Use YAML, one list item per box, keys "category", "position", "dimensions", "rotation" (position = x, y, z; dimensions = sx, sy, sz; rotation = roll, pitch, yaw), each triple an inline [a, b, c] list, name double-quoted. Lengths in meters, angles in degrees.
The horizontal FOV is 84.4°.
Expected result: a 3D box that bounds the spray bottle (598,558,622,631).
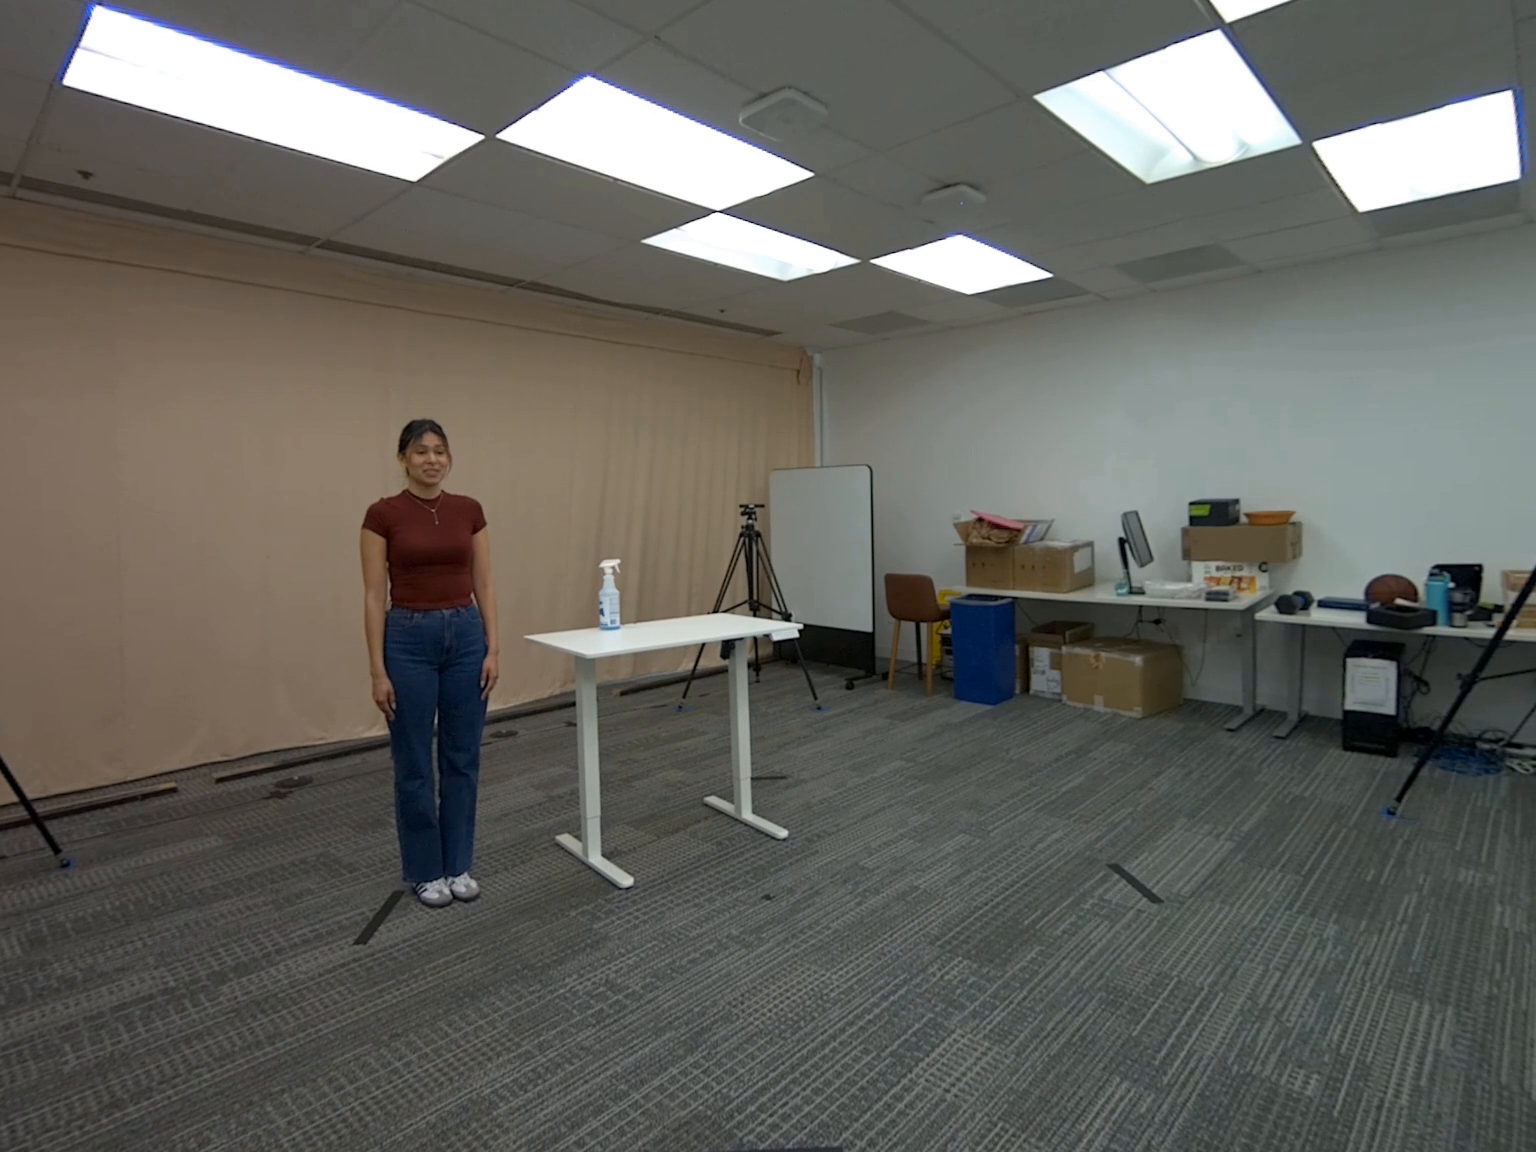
- category: "spray bottle"
  position: [-0.676, 0.082, 3.581]
  dimensions: [0.093, 0.296, 0.084]
  rotation: [2, 5, 34]
